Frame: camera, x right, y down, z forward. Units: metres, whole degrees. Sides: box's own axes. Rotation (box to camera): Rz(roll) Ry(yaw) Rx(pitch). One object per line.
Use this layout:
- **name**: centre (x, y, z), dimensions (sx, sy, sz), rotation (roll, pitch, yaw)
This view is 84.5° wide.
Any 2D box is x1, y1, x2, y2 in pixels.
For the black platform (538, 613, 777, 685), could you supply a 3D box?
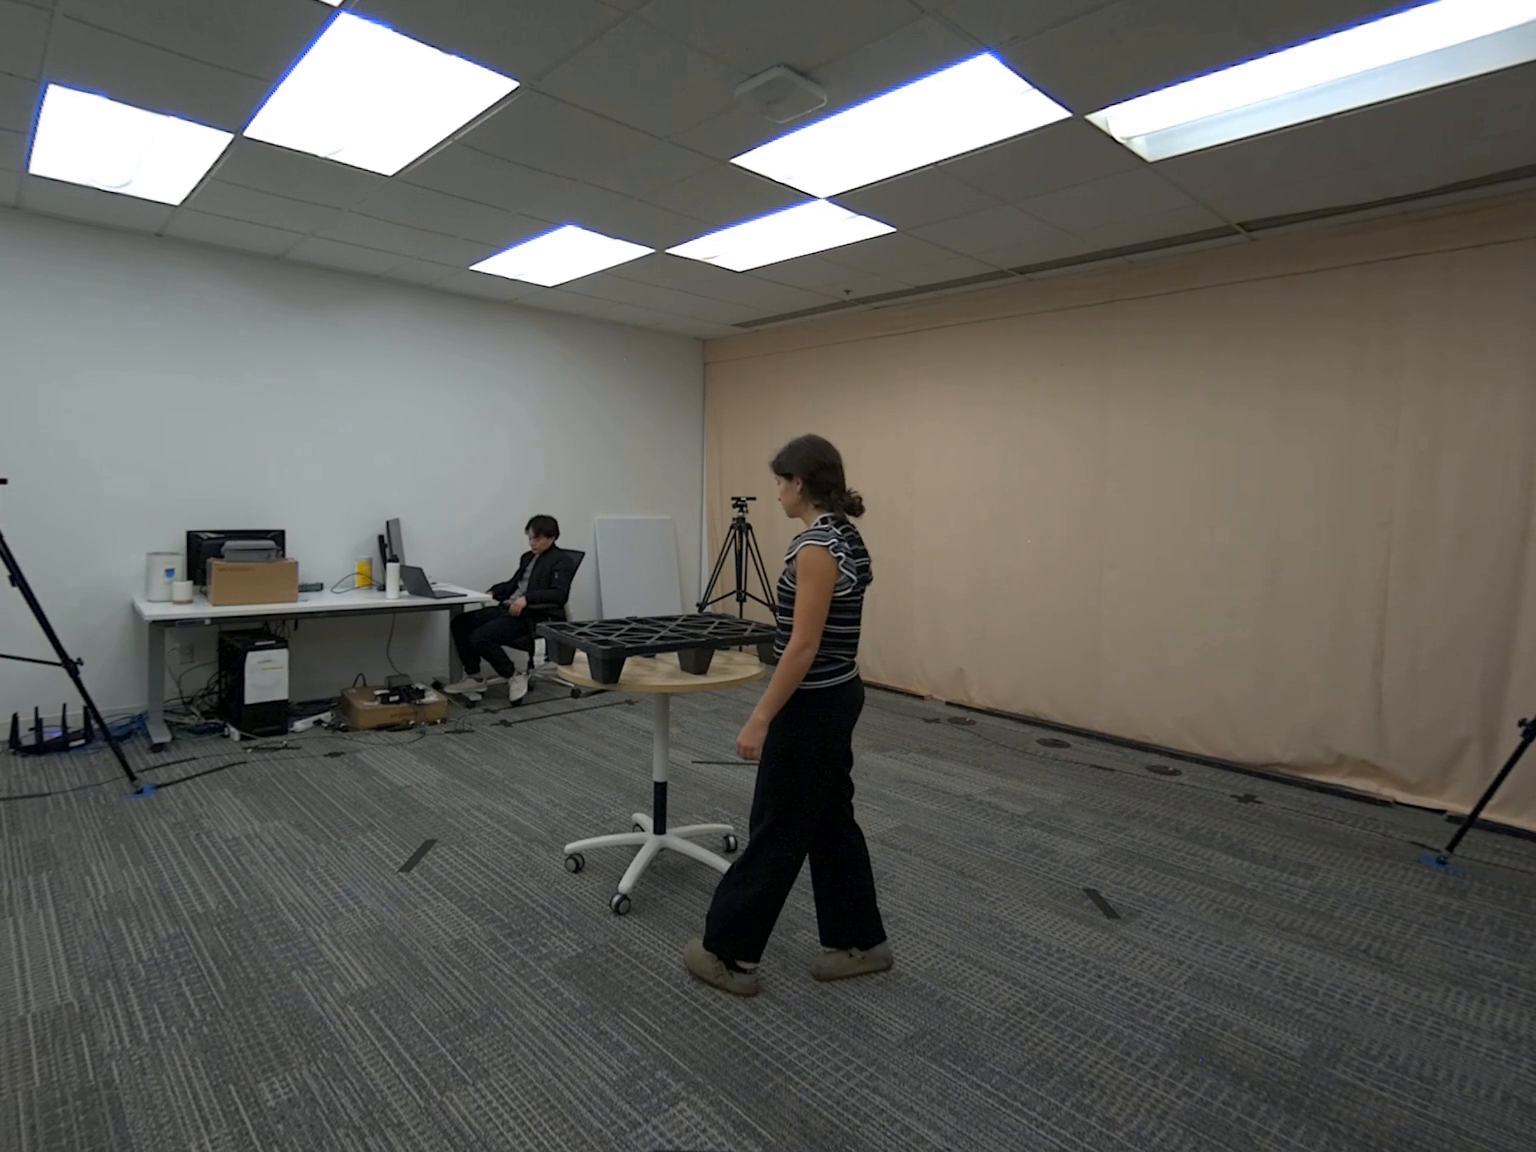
- **black platform**: centre (-0.380, 0.260, 3.081), dimensions (0.788, 0.143, 0.619), rotation (-2, 5, -35)
